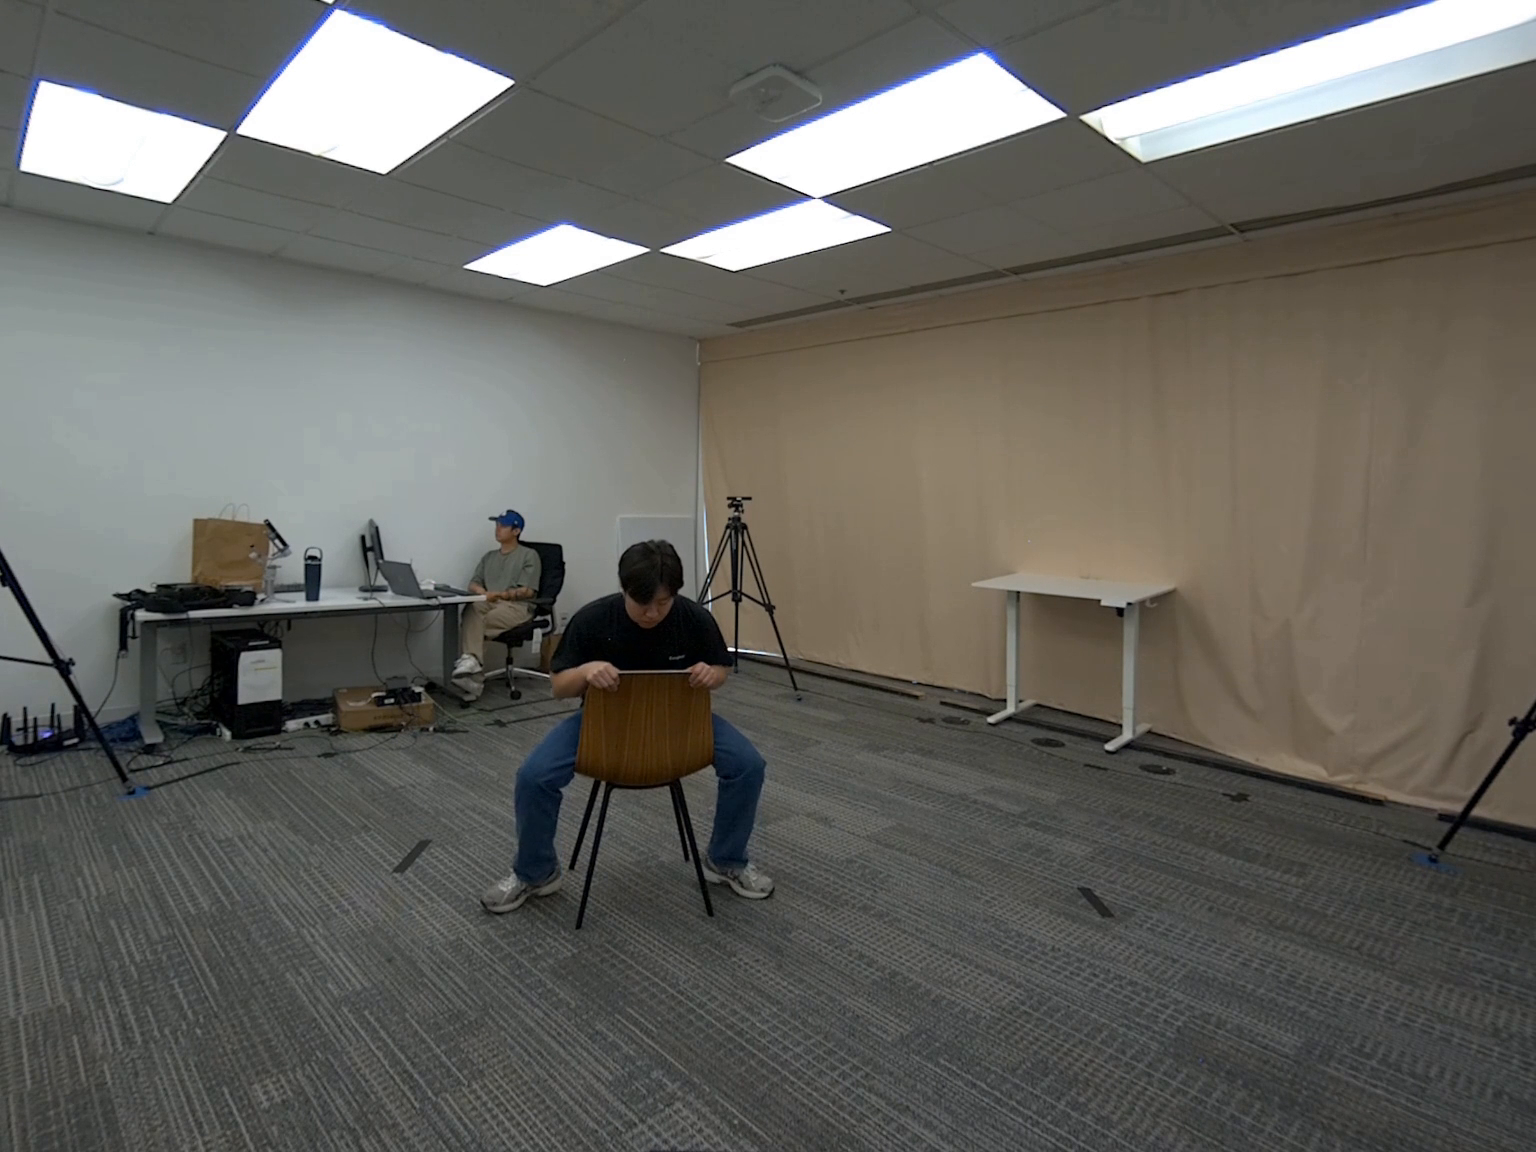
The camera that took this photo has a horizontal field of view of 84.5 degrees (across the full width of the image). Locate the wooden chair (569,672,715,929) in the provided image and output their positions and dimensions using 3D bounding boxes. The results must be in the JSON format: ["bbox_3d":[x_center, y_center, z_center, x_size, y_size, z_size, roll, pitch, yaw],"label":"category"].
[{"bbox_3d":[-0.453,0.693,2.941,0.473,0.873,0.532,0,7,-15],"label":"wooden chair"}]
